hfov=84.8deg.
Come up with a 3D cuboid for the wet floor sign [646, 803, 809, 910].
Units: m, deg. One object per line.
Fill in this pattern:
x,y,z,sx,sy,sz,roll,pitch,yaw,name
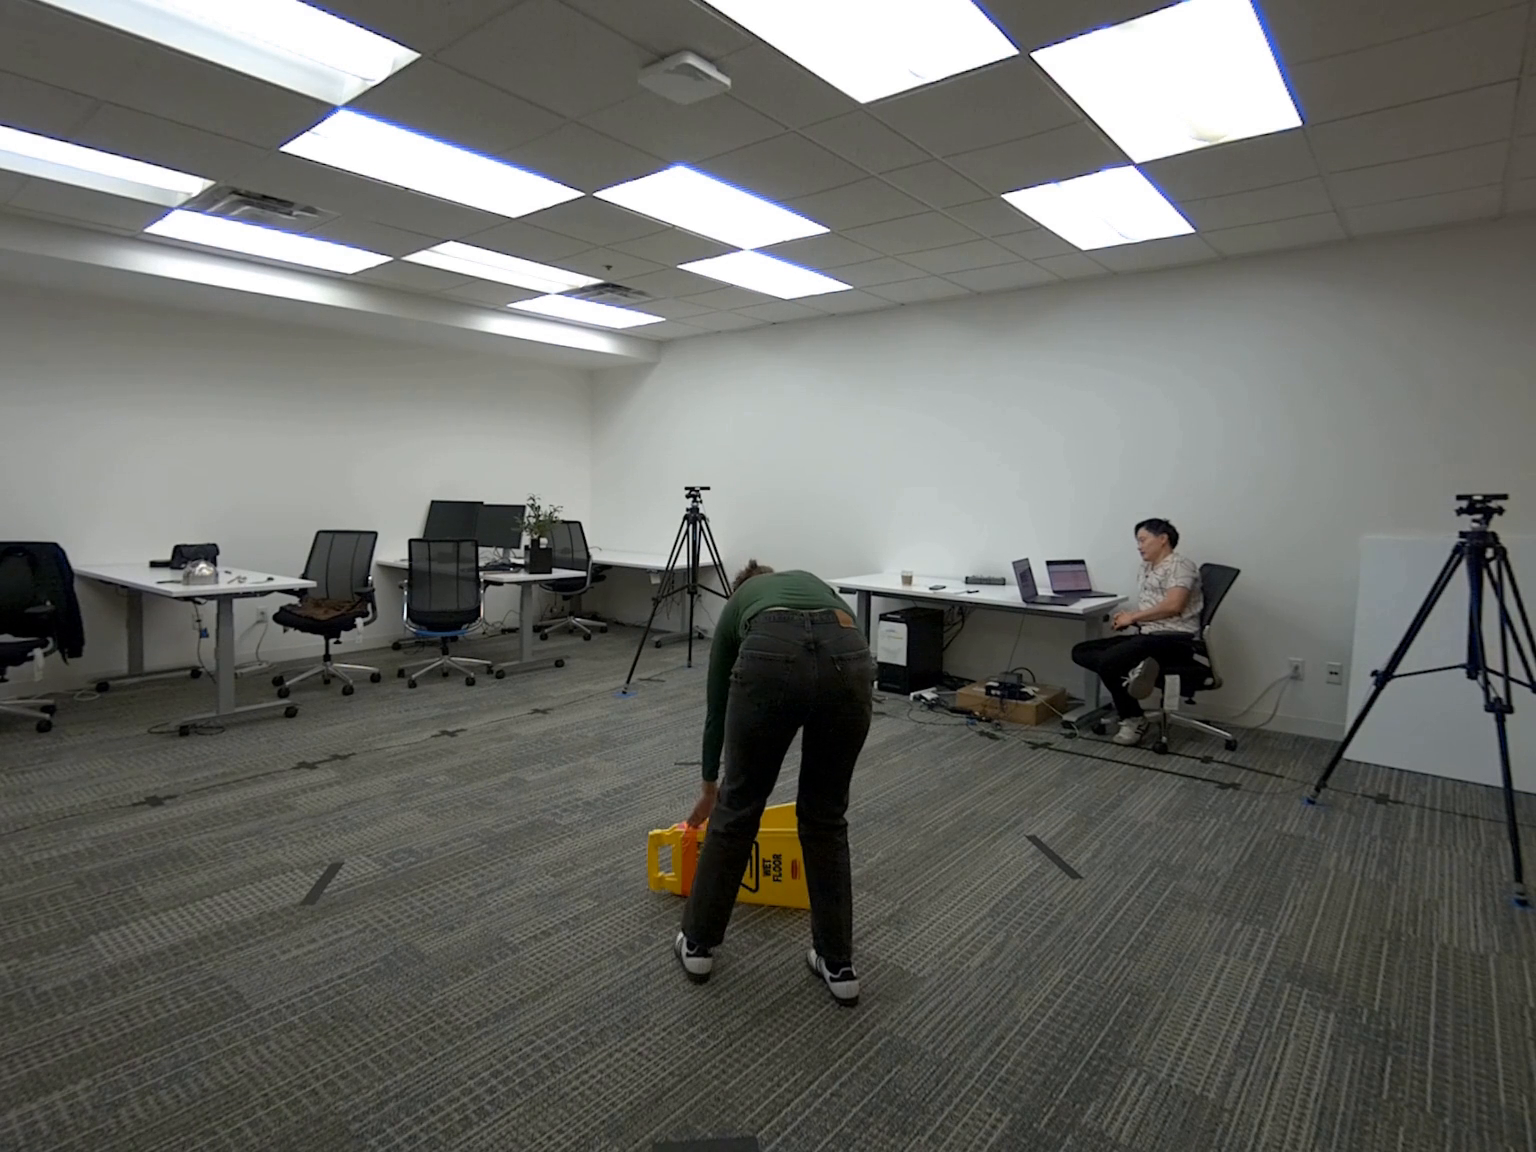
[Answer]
-0.104,0.952,2.910,0.642,0.281,0.292,-2,5,-5,wet floor sign
